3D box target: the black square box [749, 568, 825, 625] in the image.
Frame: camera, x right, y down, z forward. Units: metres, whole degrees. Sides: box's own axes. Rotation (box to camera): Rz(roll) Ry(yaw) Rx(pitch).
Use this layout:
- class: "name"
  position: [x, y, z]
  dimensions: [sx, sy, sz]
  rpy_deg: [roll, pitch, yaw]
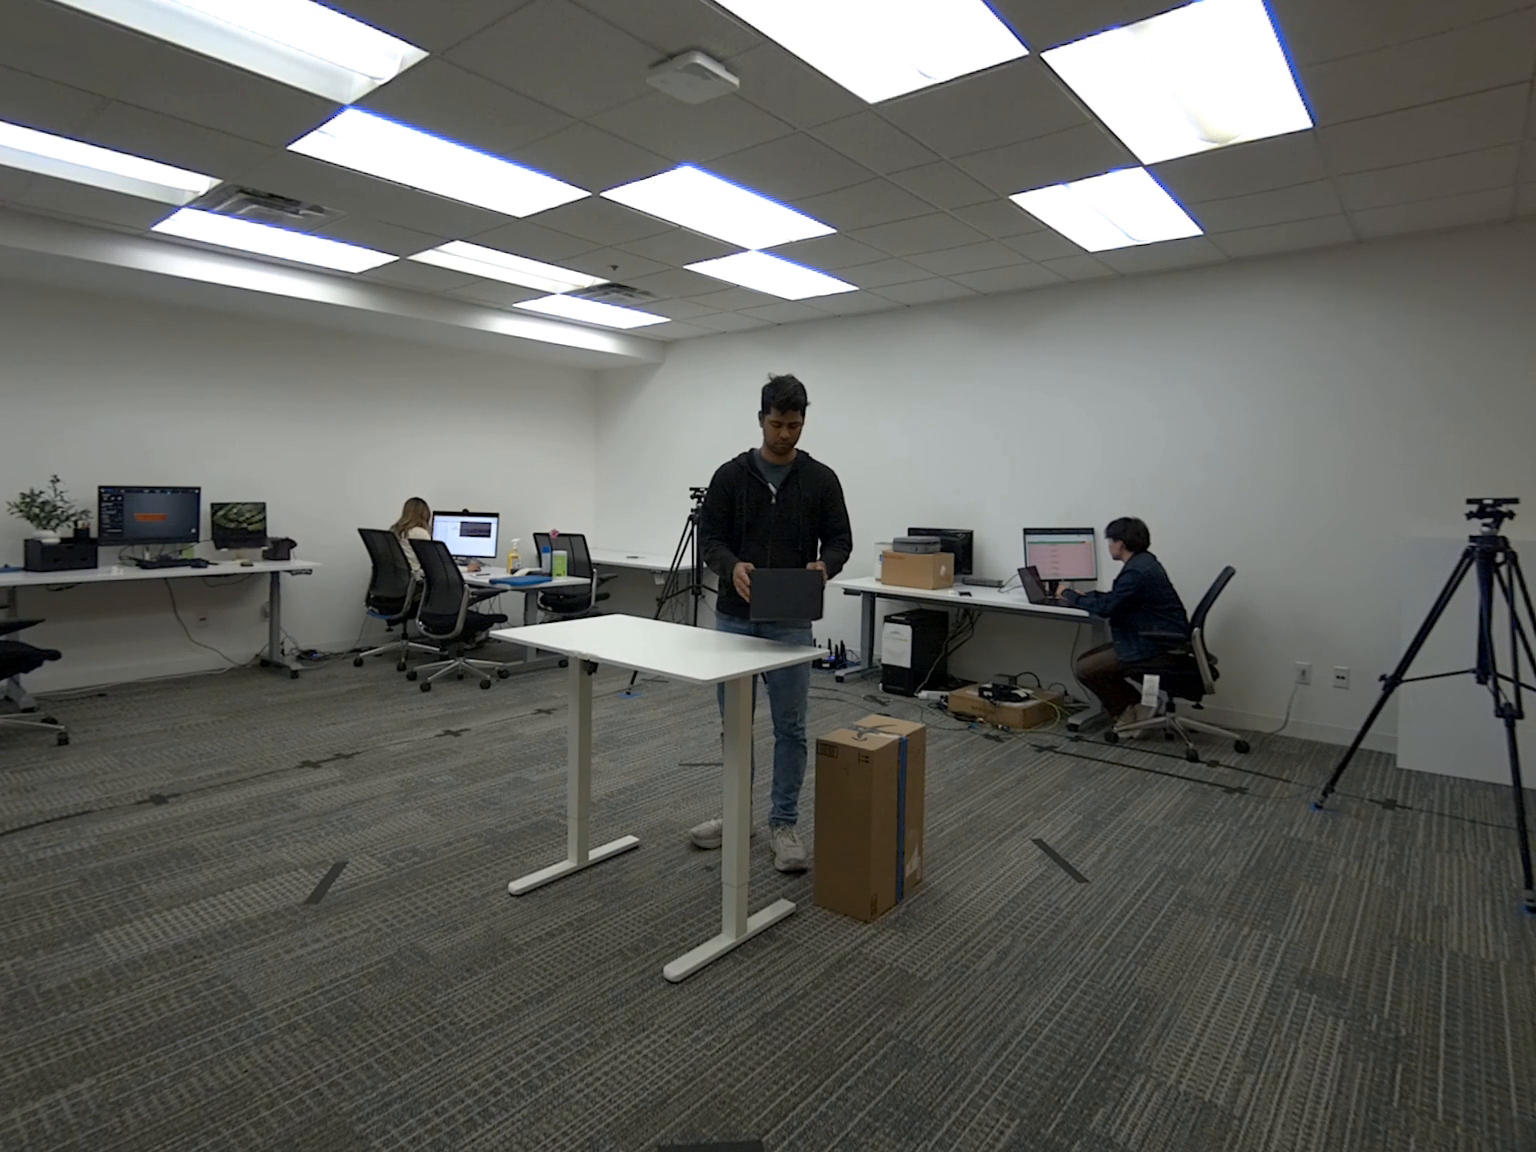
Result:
- class: "black square box"
  position: [0.047, 0.065, 2.767]
  dimensions: [0.227, 0.157, 0.216]
  rpy_deg: [-1, -4, -2]
